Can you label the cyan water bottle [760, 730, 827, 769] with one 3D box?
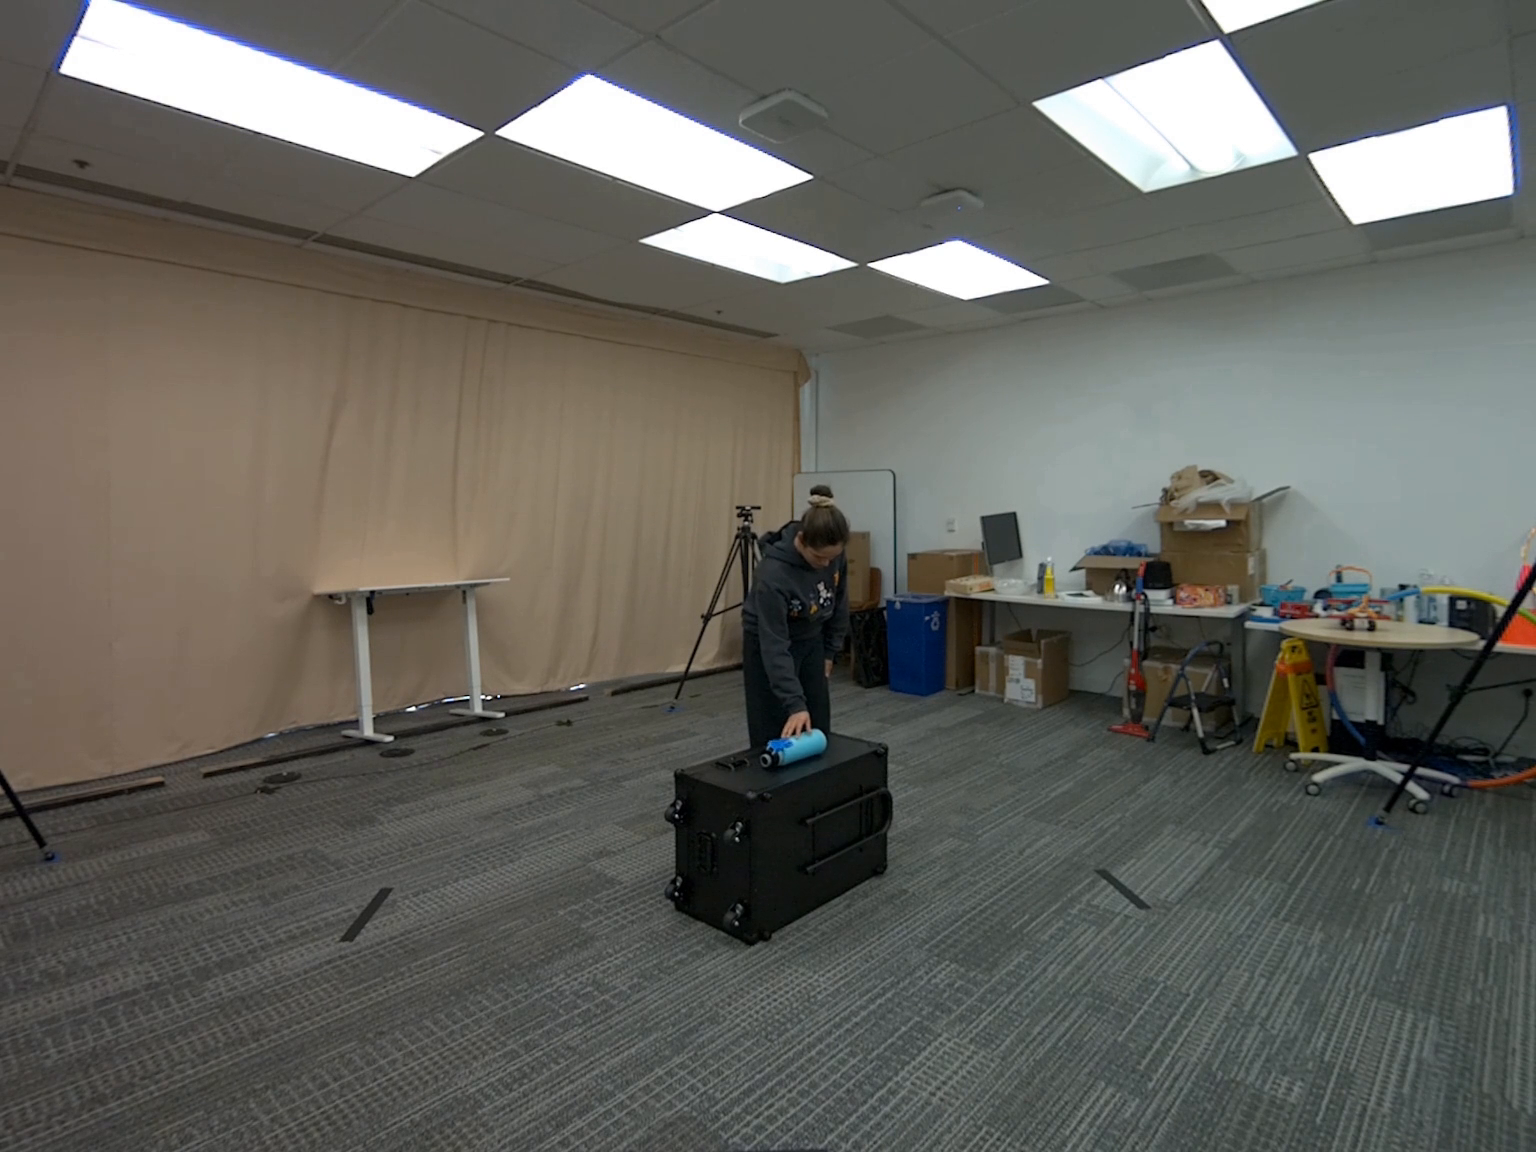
[{"bbox_3d":[0.100,0.605,2.995,0.095,0.092,0.275,4,6,44],"label":"cyan water bottle"}]
